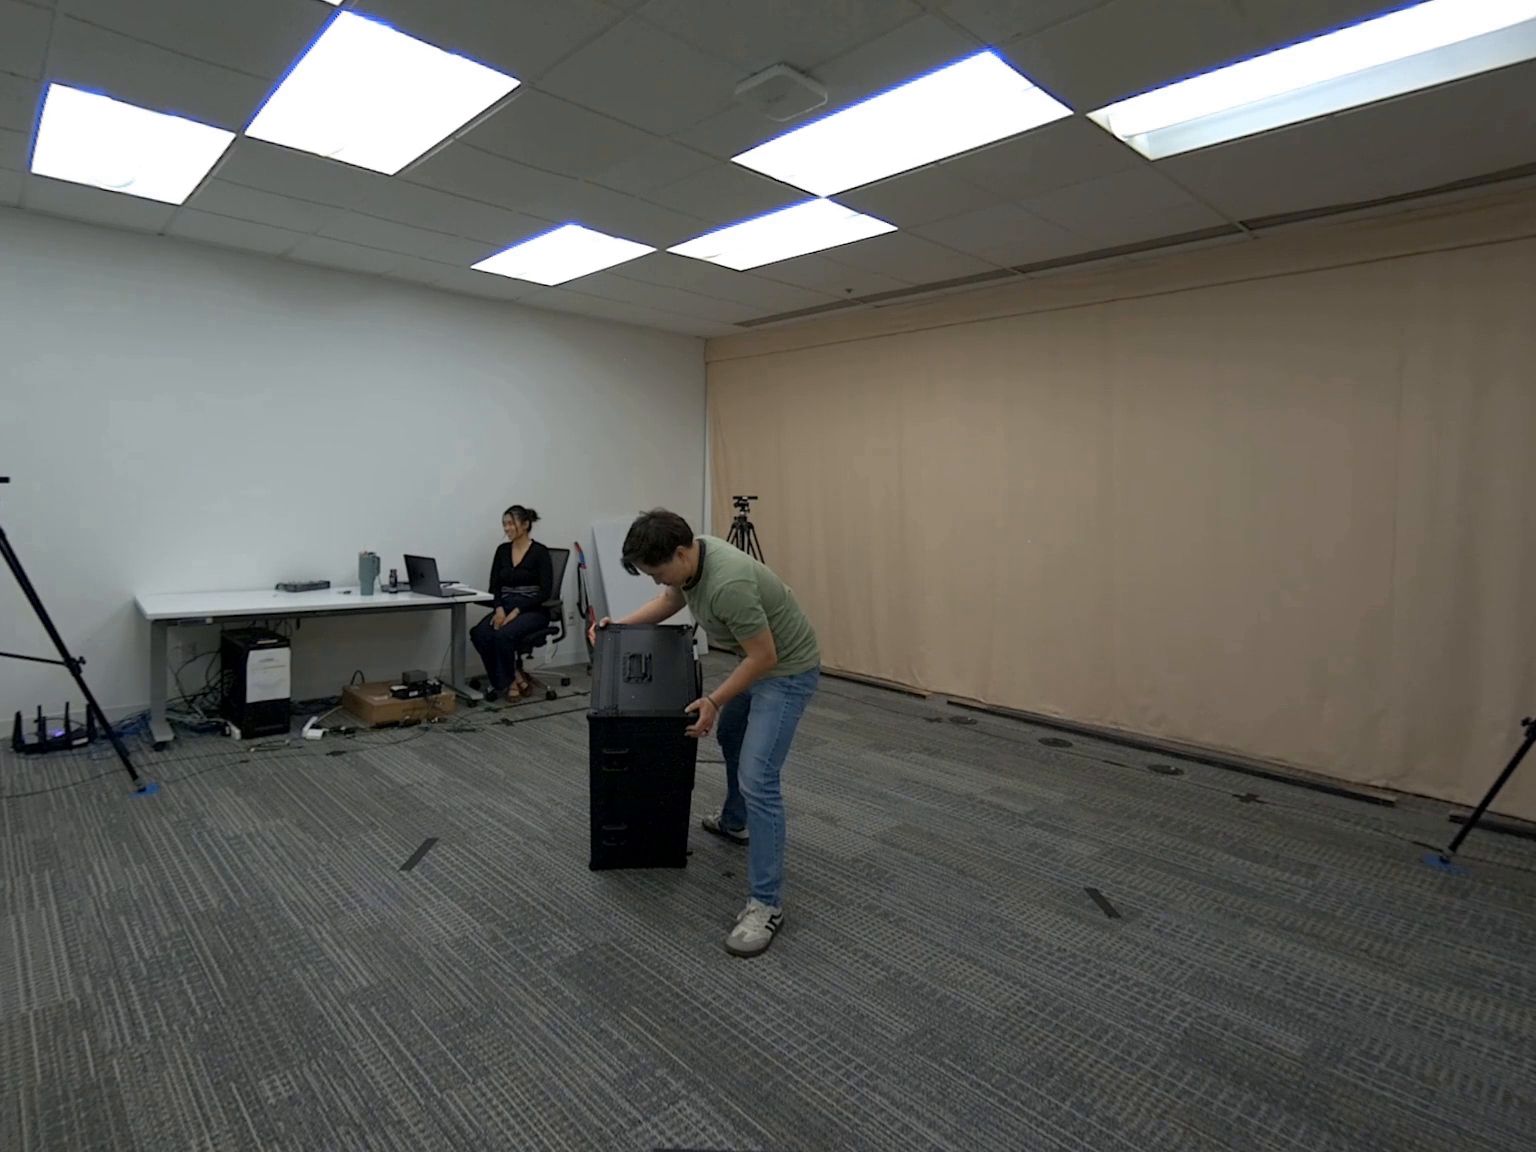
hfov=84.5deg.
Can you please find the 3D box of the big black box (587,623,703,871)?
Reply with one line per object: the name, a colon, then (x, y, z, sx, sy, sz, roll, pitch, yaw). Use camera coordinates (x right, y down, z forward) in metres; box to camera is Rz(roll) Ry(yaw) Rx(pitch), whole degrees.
big black box: (-0.472, 0.664, 3.148, 0.394, 0.846, 0.534, 2, 34, -9)
